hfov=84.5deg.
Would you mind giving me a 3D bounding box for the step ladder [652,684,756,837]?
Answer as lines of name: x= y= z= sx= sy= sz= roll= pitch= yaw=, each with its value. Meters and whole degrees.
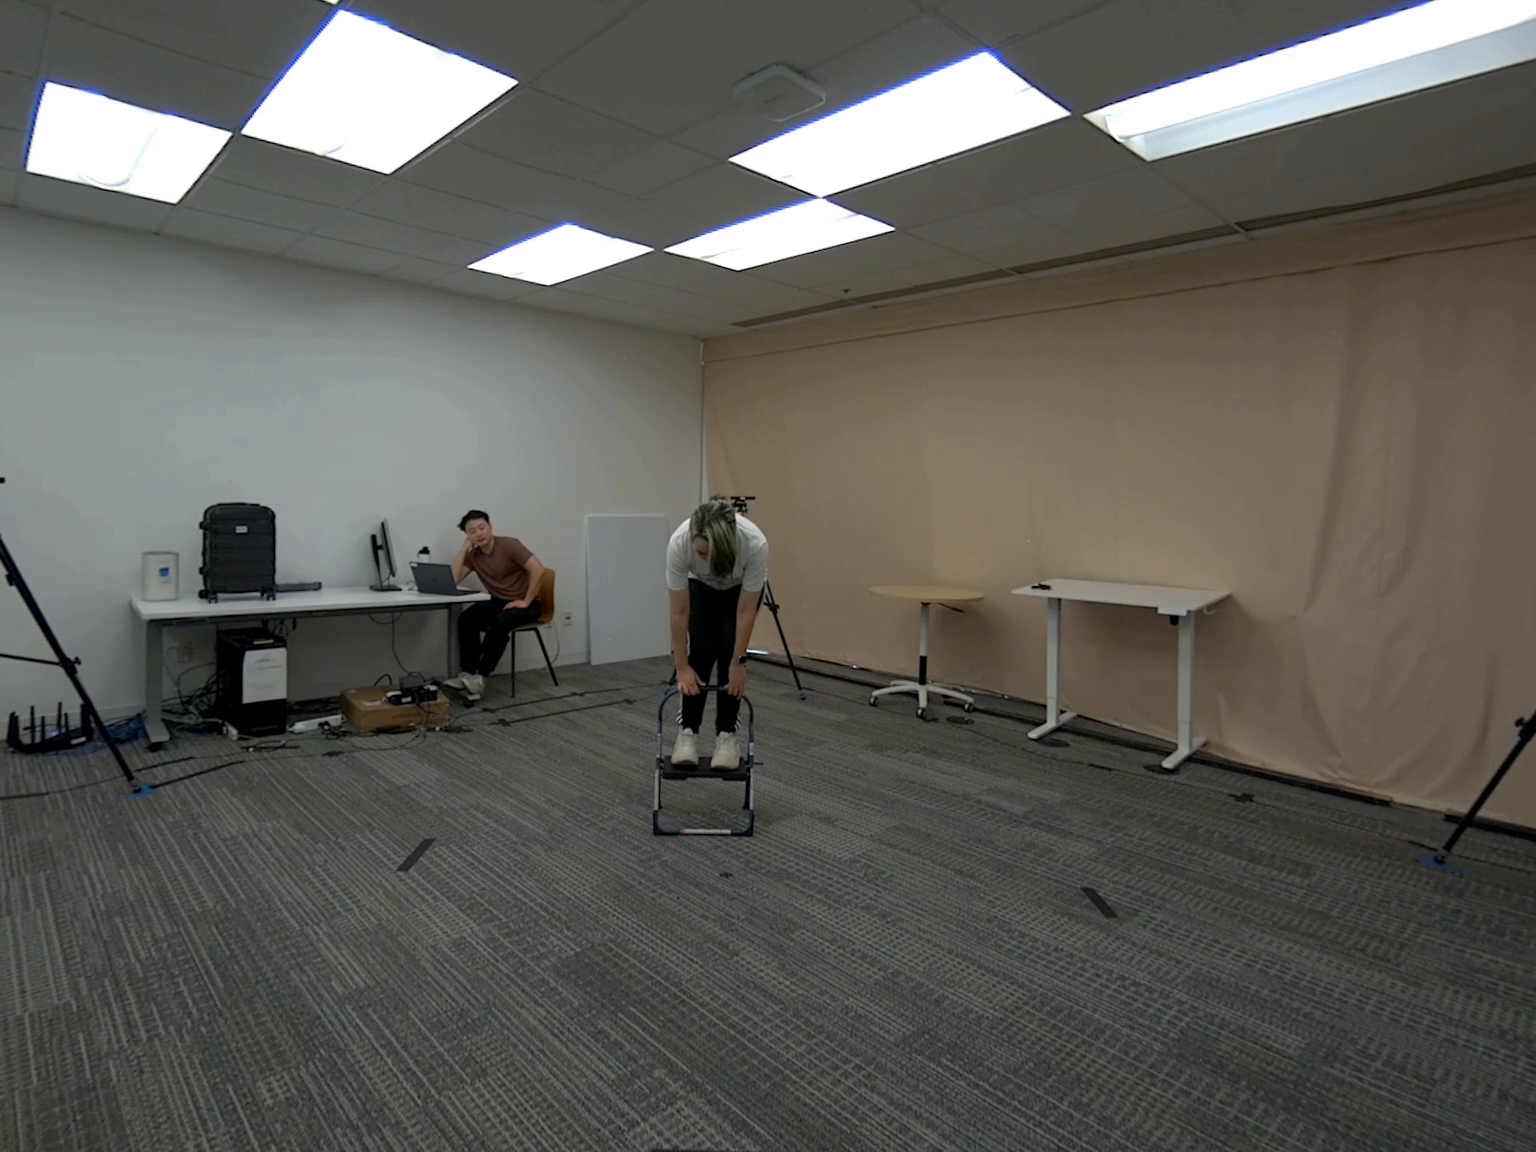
step ladder: x=-0.280 y=0.760 z=3.615 sx=0.429 sy=0.605 sz=0.351 roll=2 pitch=3 yaw=-5
